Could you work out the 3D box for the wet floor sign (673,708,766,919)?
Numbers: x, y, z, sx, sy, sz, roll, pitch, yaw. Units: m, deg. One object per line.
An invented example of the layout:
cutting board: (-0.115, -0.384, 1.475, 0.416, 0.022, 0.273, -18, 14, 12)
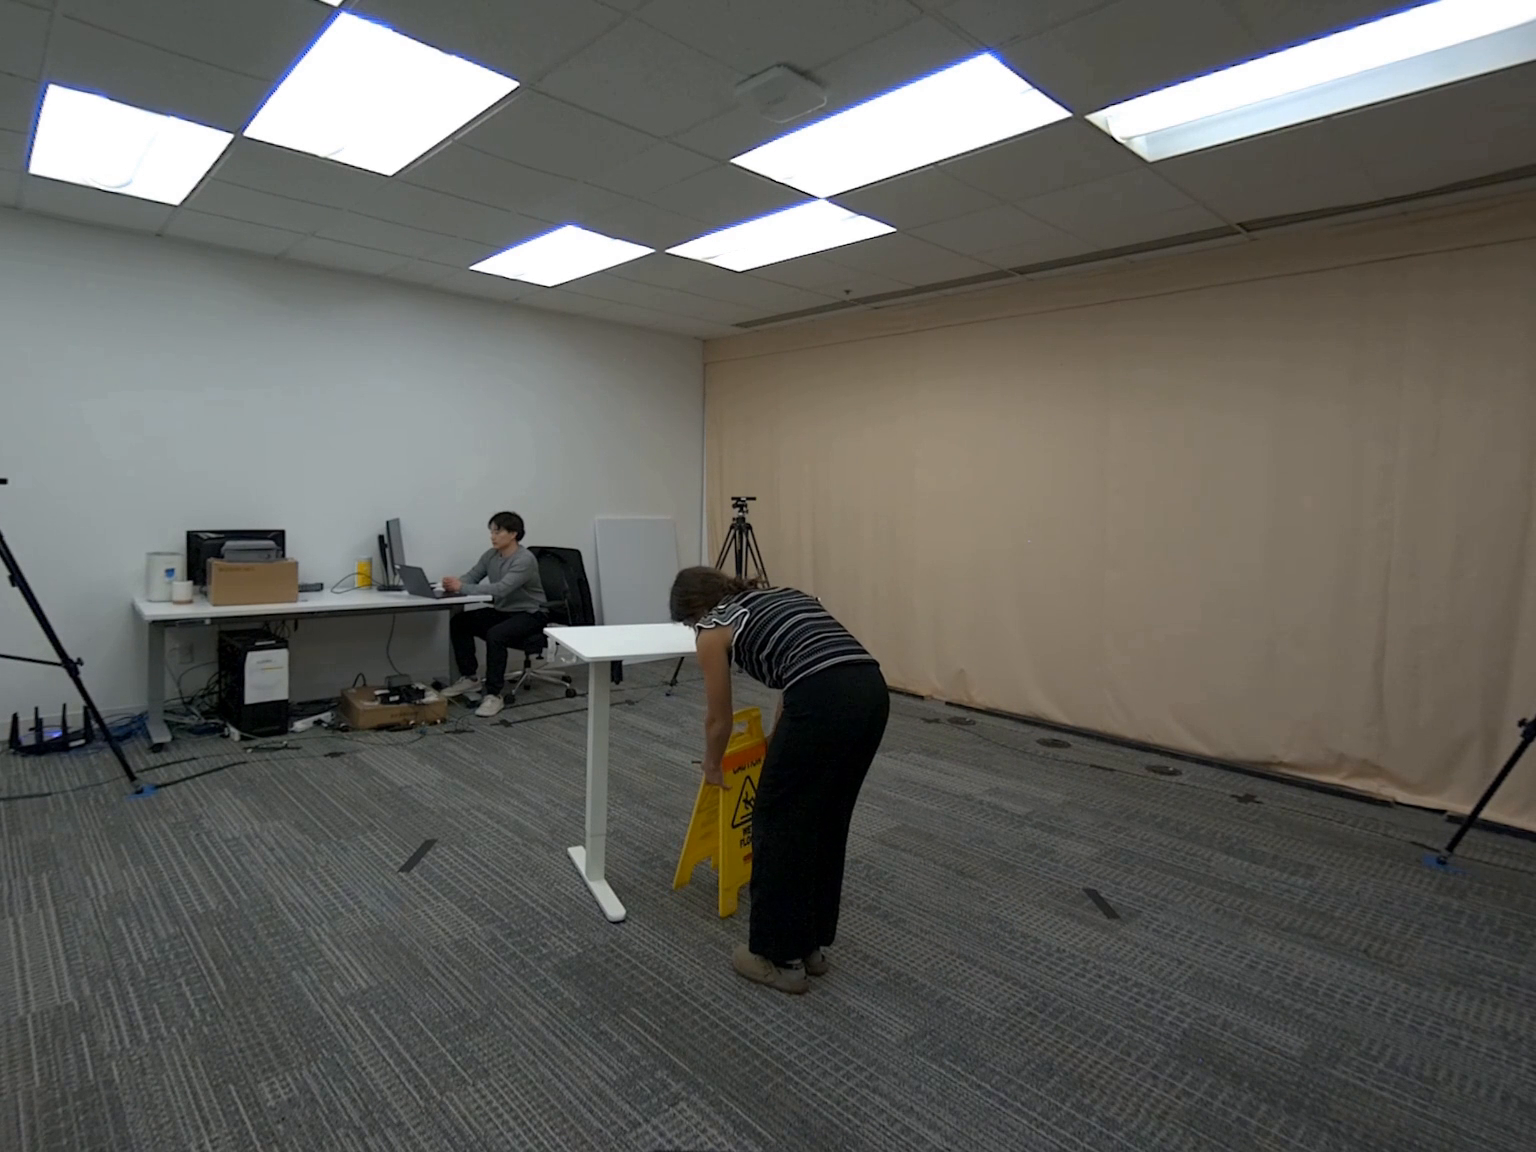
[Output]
wet floor sign: (-0.133, 0.778, 2.891, 0.297, 0.643, 0.276, 11, 10, 39)
